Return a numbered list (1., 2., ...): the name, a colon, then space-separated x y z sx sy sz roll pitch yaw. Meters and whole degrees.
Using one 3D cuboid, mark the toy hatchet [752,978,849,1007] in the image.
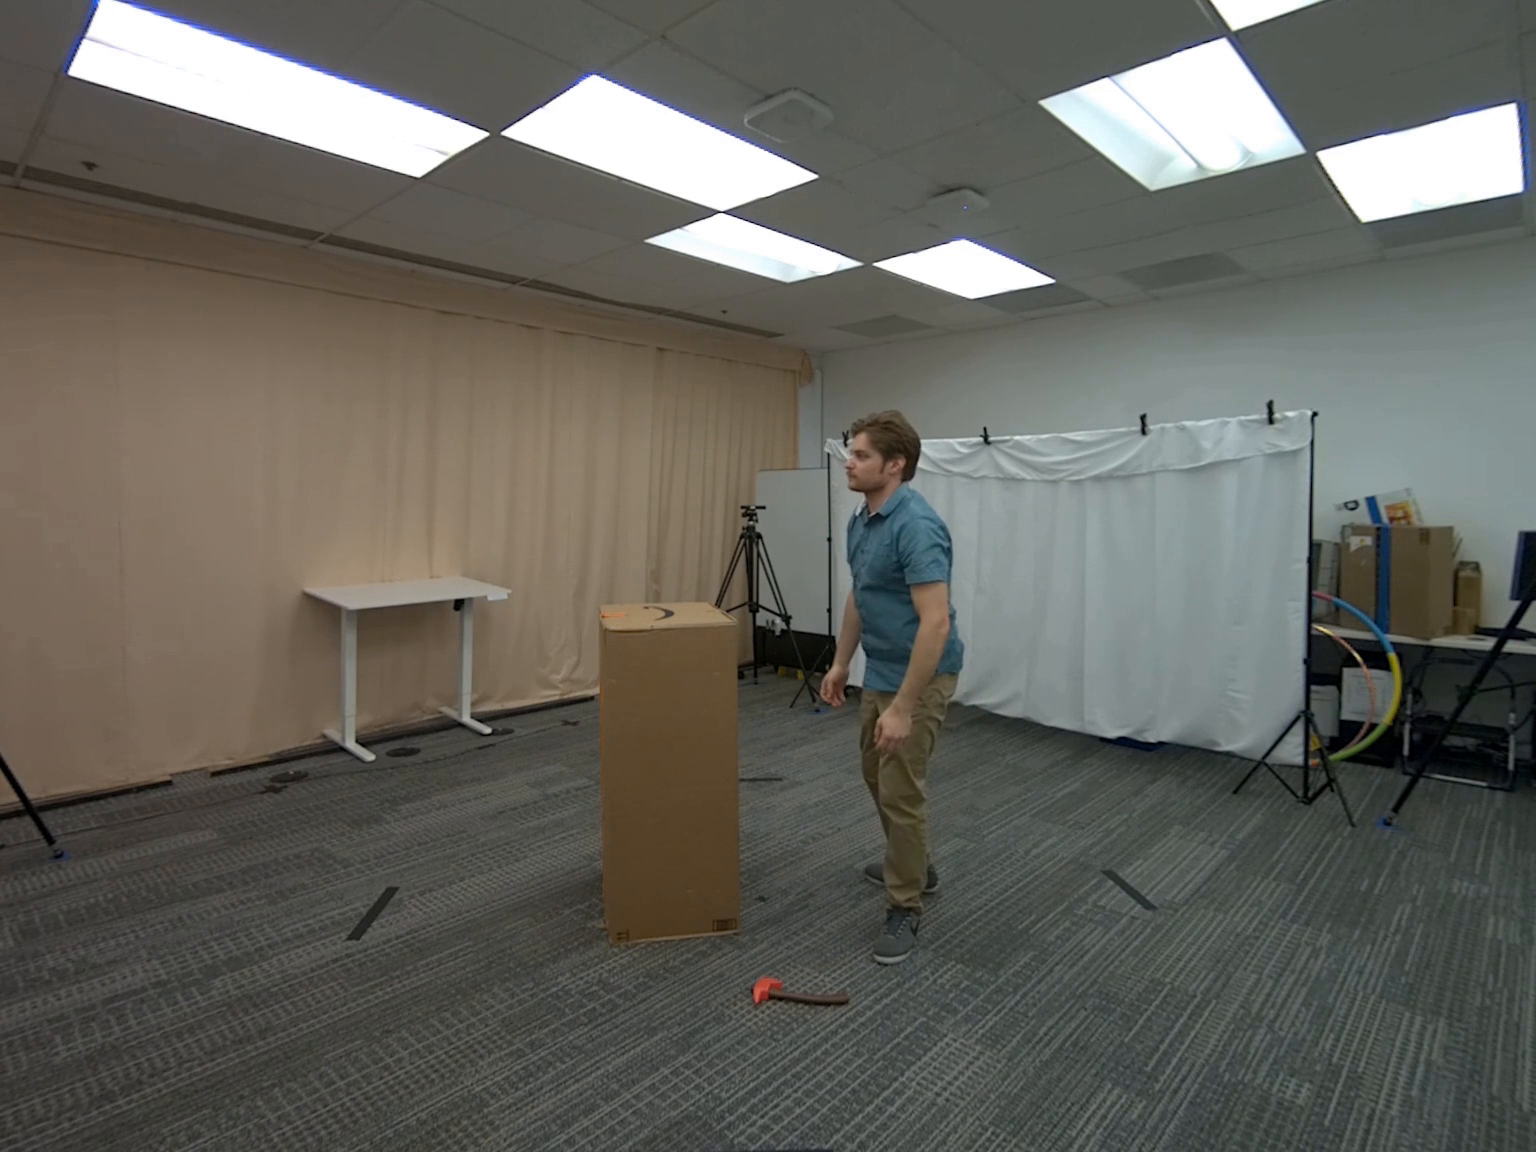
1. toy hatchet: 0.092 1.182 2.395 0.269 0.029 0.131 2 0 -4
